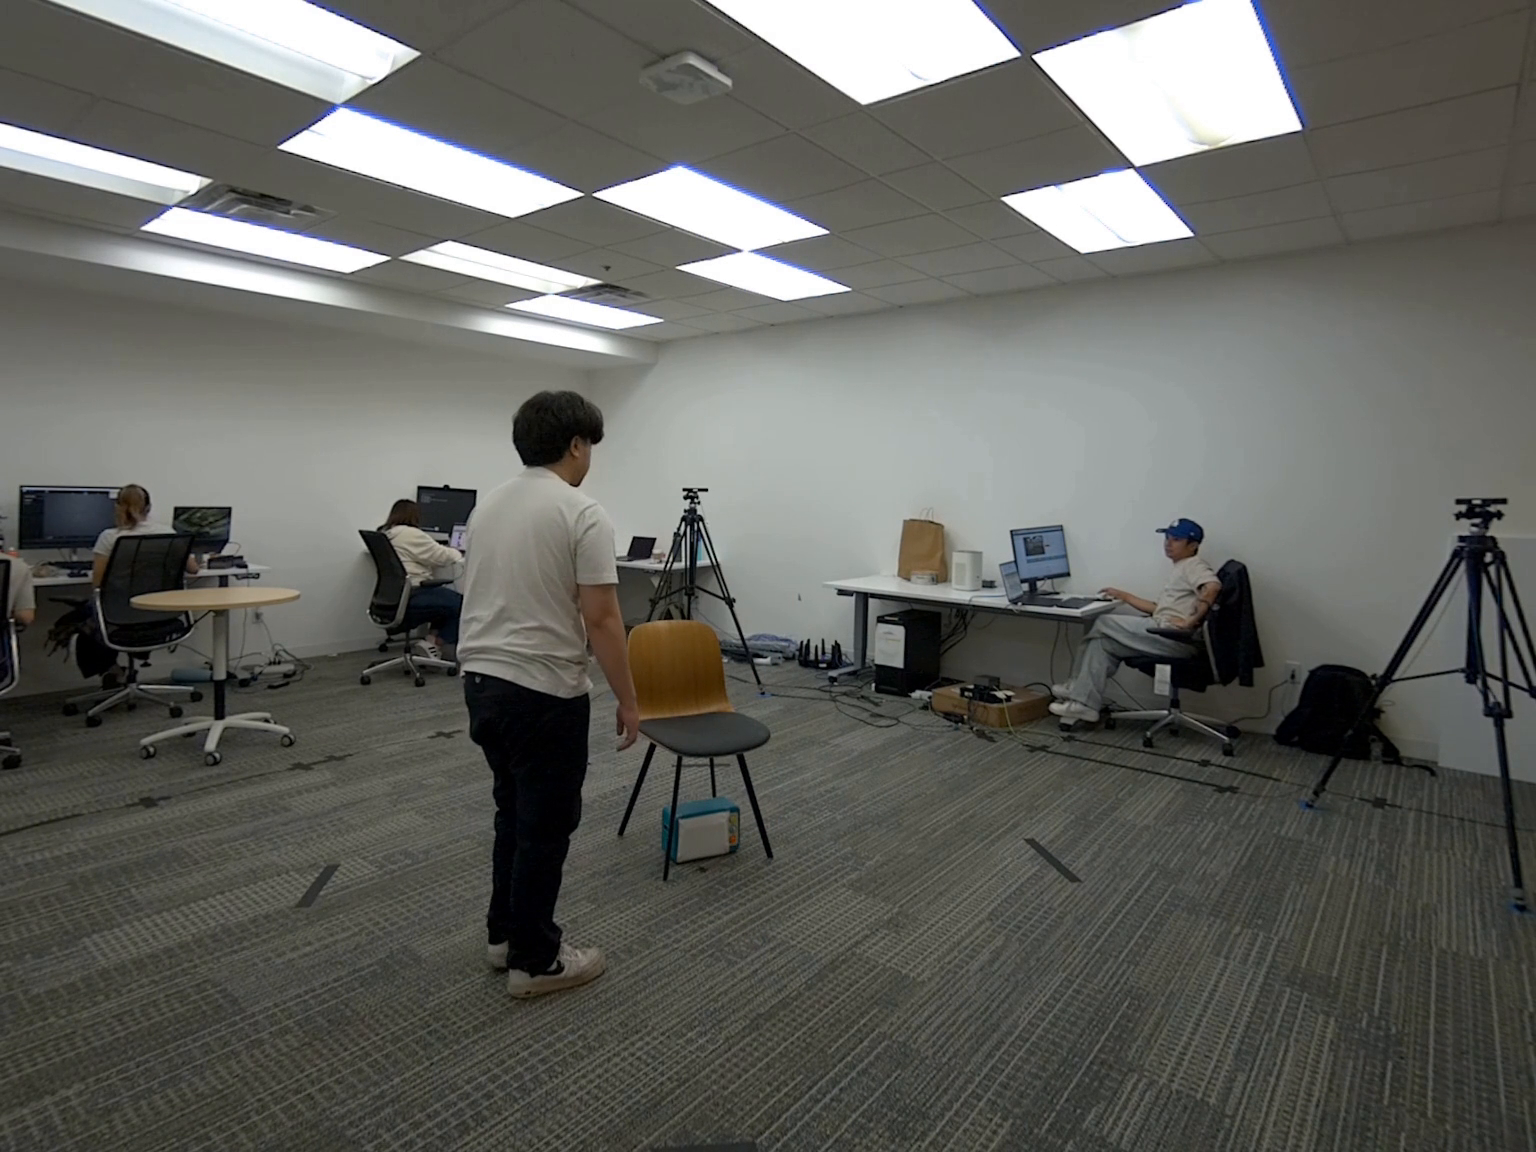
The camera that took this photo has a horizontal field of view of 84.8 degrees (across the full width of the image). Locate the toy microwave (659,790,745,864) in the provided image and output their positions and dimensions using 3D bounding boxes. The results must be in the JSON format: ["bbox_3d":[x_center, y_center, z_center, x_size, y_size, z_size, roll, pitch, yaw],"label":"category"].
[{"bbox_3d":[-0.258,0.959,3.239,0.279,0.183,0.157,-2,5,-28],"label":"toy microwave"}]
